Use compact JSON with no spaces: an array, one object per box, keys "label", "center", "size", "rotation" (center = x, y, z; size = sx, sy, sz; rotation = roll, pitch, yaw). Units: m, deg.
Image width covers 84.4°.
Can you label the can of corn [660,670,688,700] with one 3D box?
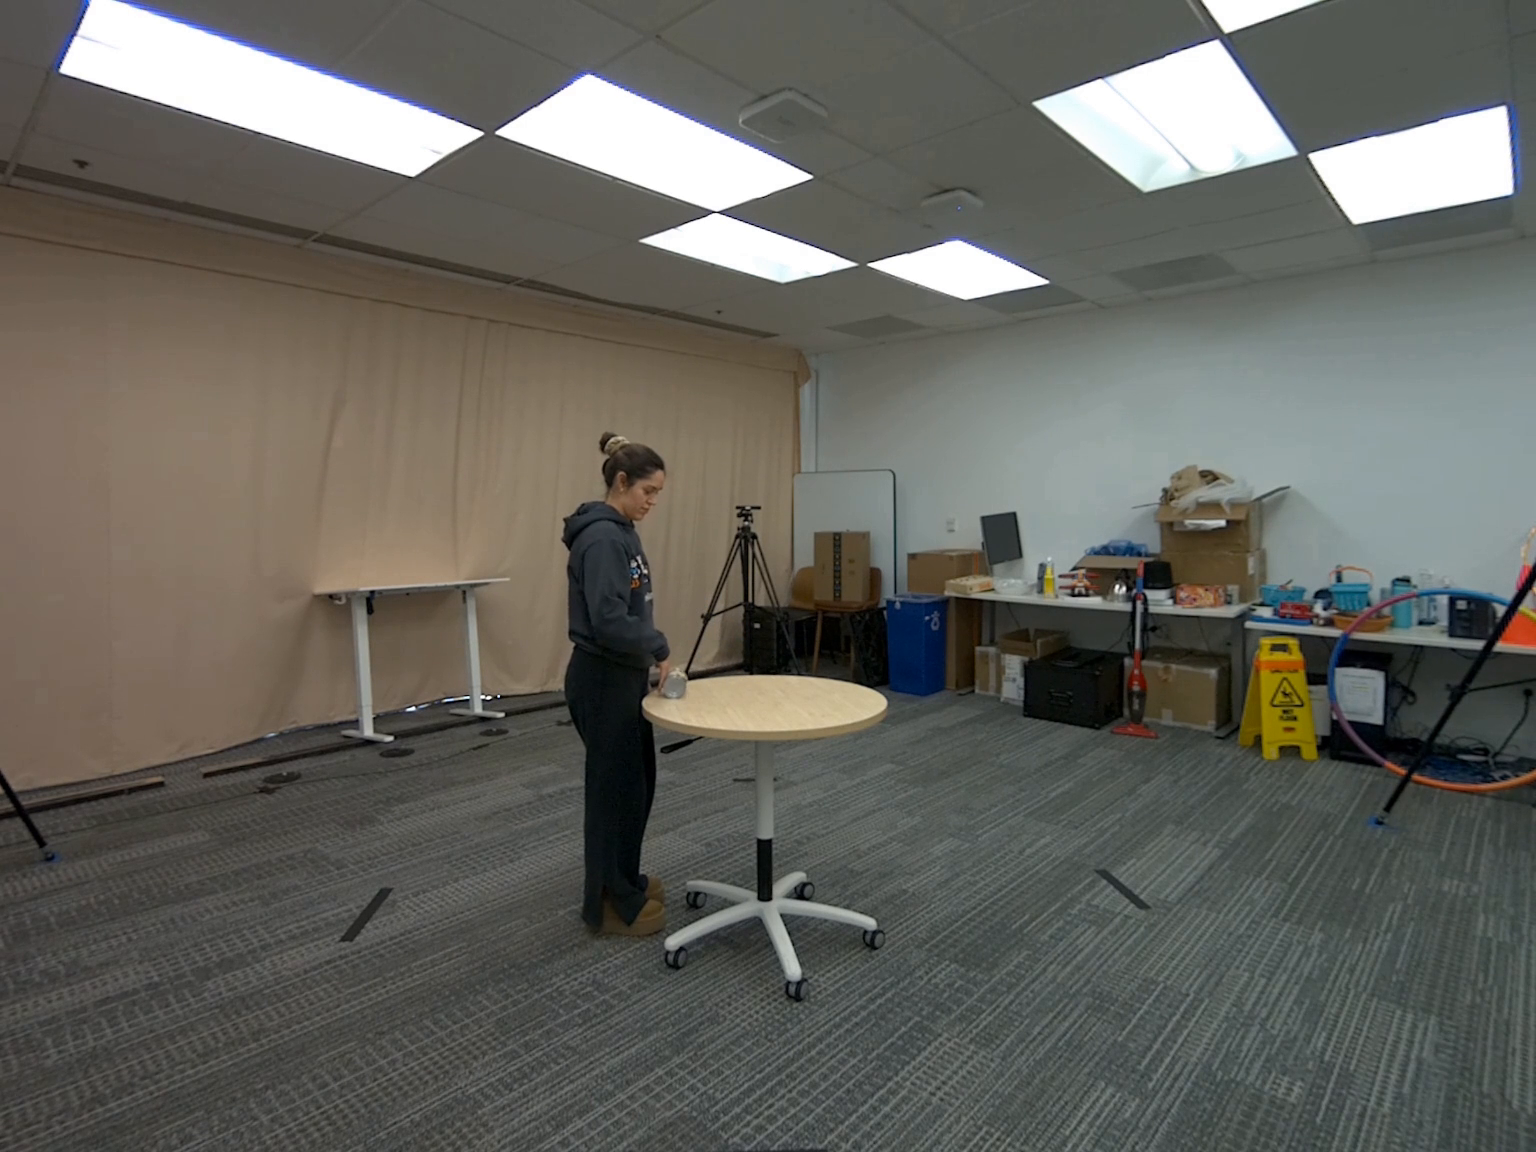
[{"label":"can of corn","center":[-0.280,0.350,2.723],"size":[0.074,0.074,0.111],"rotation":[0,-1,-2]}]
